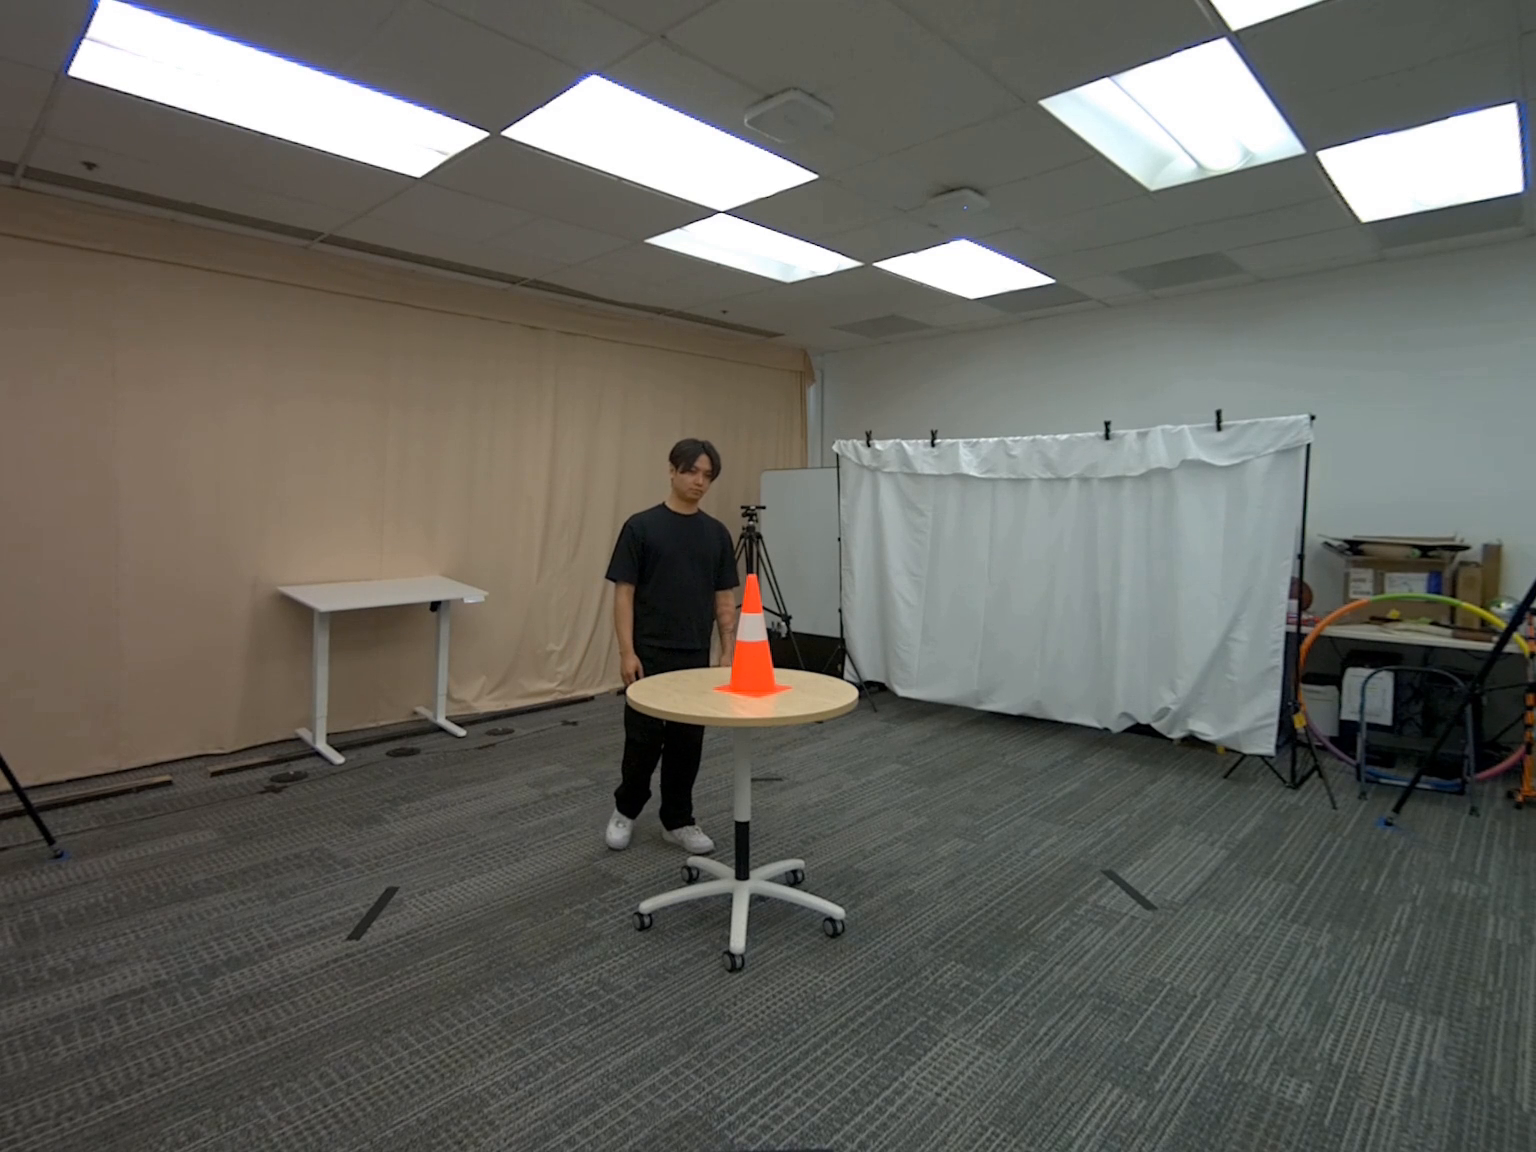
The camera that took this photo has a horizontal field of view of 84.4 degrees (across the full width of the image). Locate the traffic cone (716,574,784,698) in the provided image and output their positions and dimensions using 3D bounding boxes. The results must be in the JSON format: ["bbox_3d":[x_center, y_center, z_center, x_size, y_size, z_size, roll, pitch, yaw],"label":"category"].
[{"bbox_3d":[-0.048,0.190,2.806,0.211,0.383,0.197,1,2,34],"label":"traffic cone"}]
